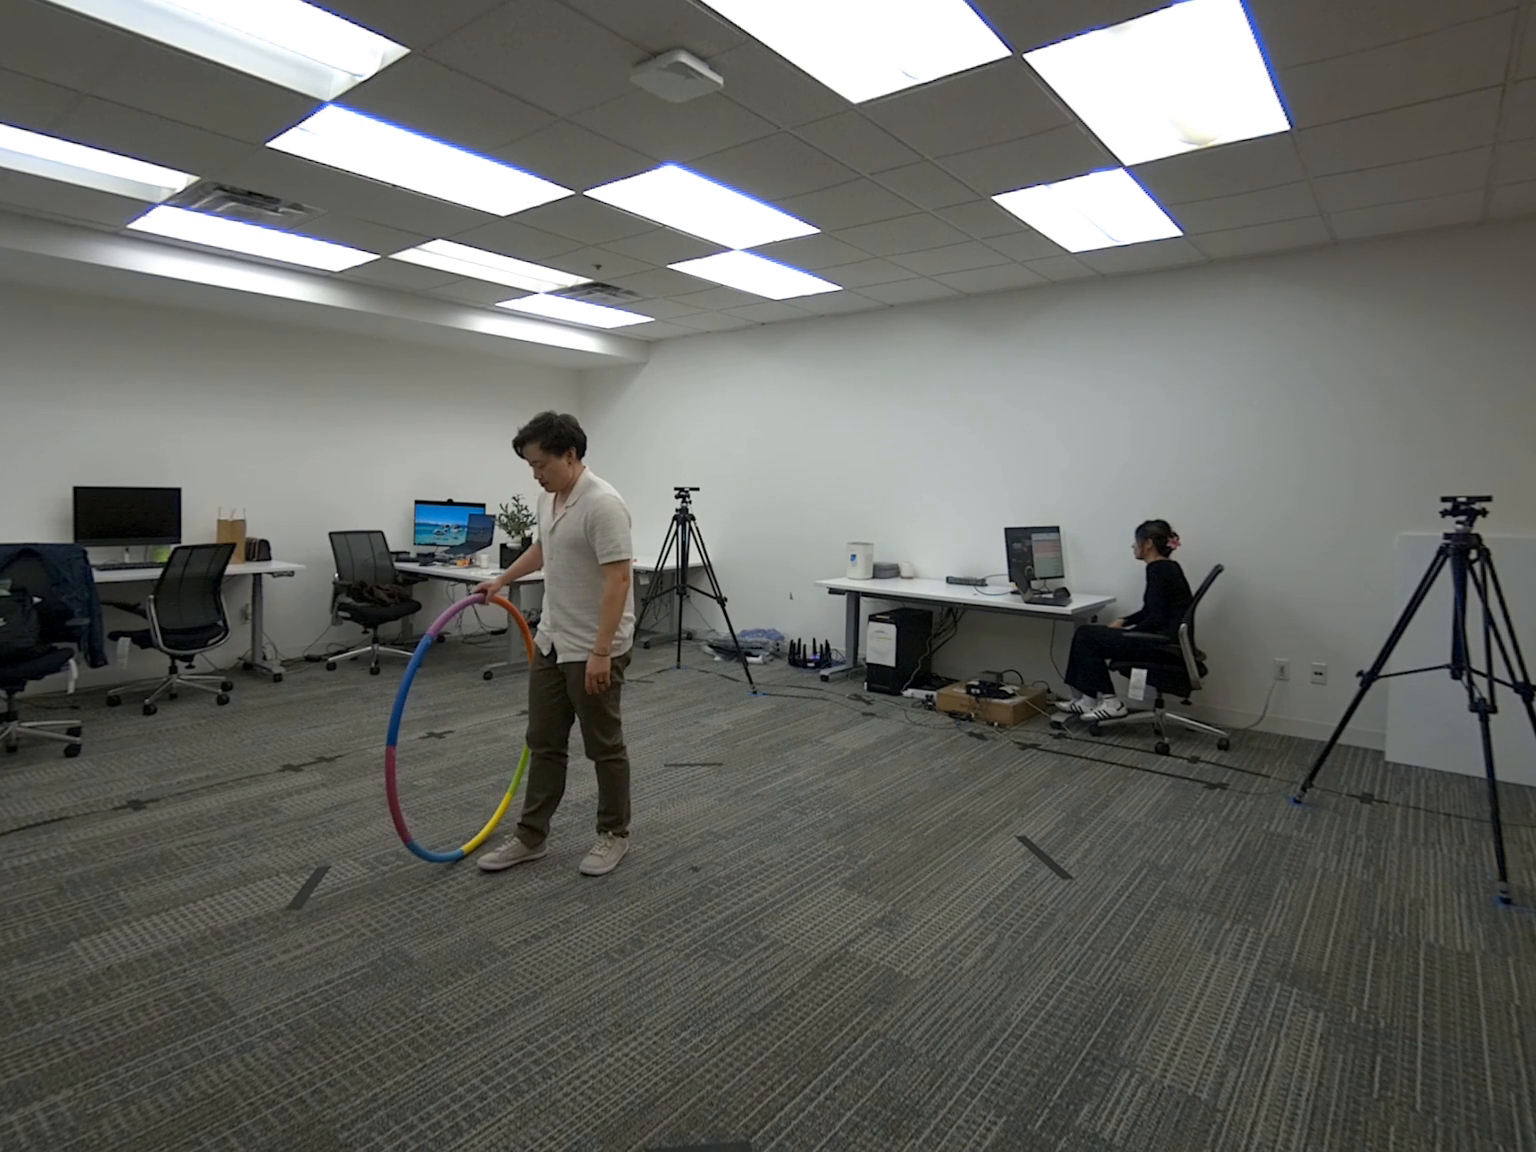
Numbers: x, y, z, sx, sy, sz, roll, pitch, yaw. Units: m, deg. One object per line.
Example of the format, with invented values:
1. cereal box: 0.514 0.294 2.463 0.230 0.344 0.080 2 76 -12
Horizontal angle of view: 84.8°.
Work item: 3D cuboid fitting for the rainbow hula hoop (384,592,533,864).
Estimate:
1. rainbow hula hoop: -1.118 0.558 3.190 0.036 0.975 0.966 4 5 13
